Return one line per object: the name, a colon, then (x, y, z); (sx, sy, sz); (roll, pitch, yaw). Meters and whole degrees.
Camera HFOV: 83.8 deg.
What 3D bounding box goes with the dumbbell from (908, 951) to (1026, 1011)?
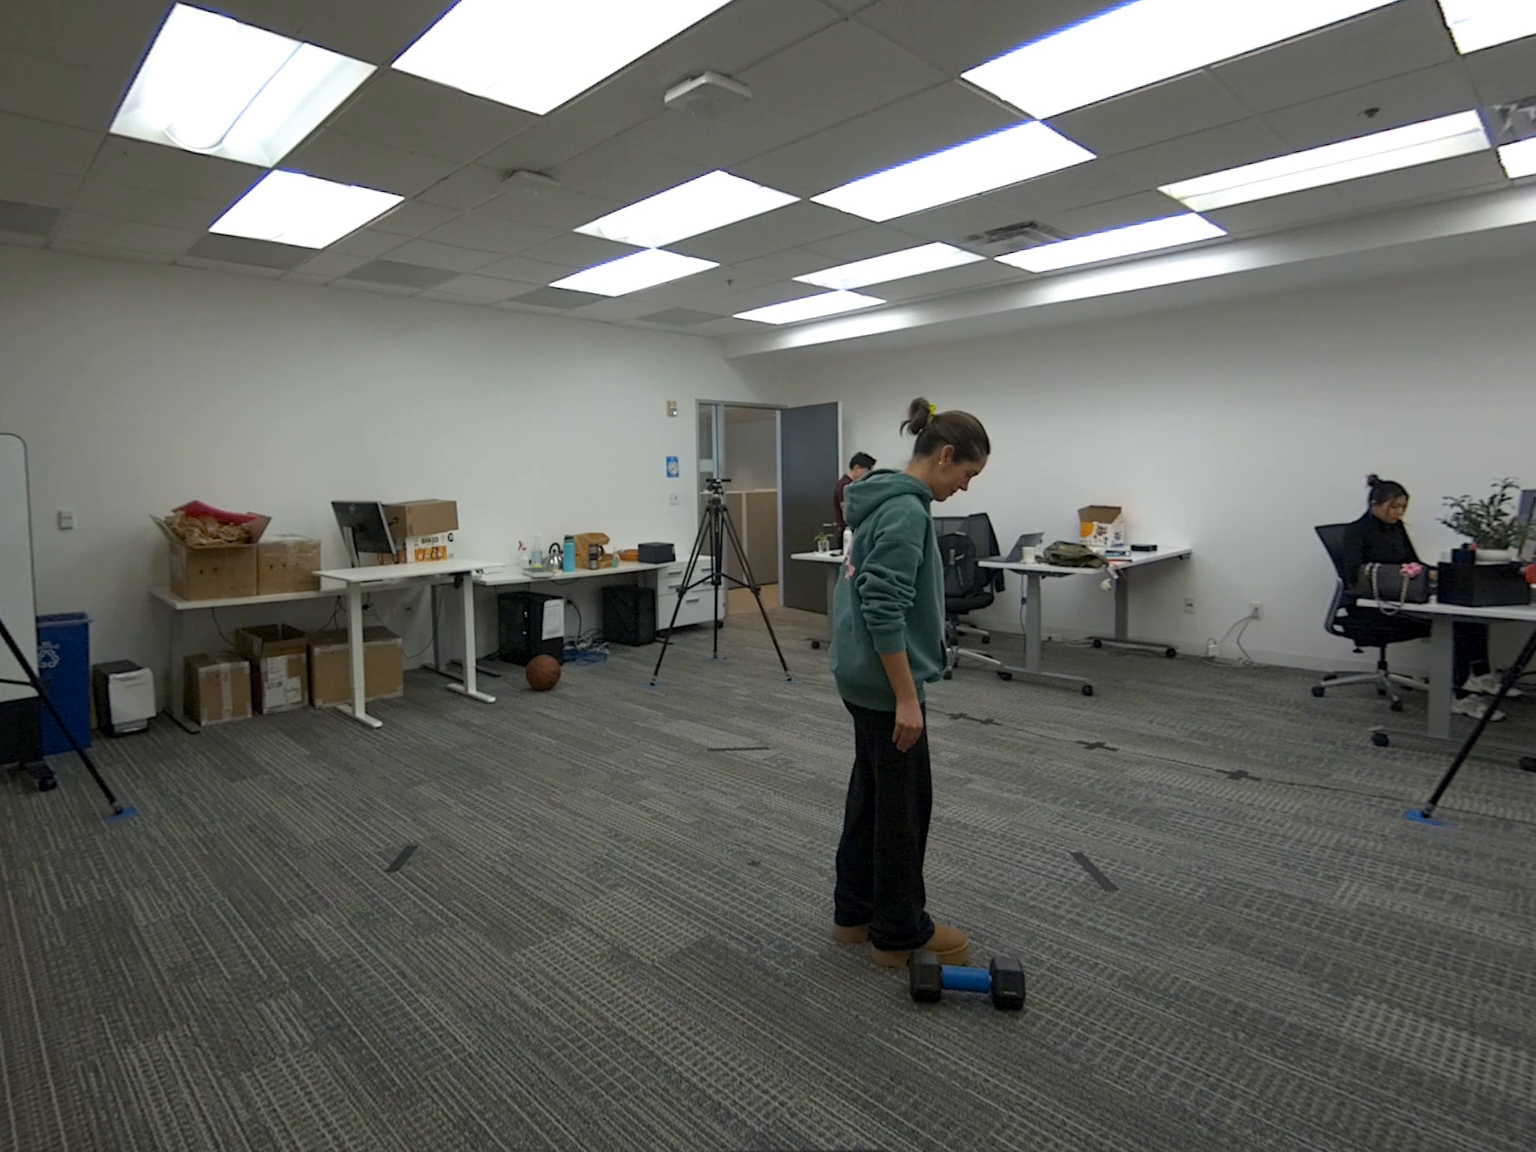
dumbbell: (0.539, 1.081, 2.269); (0.296, 0.119, 0.111); (-1, 33, 8)
